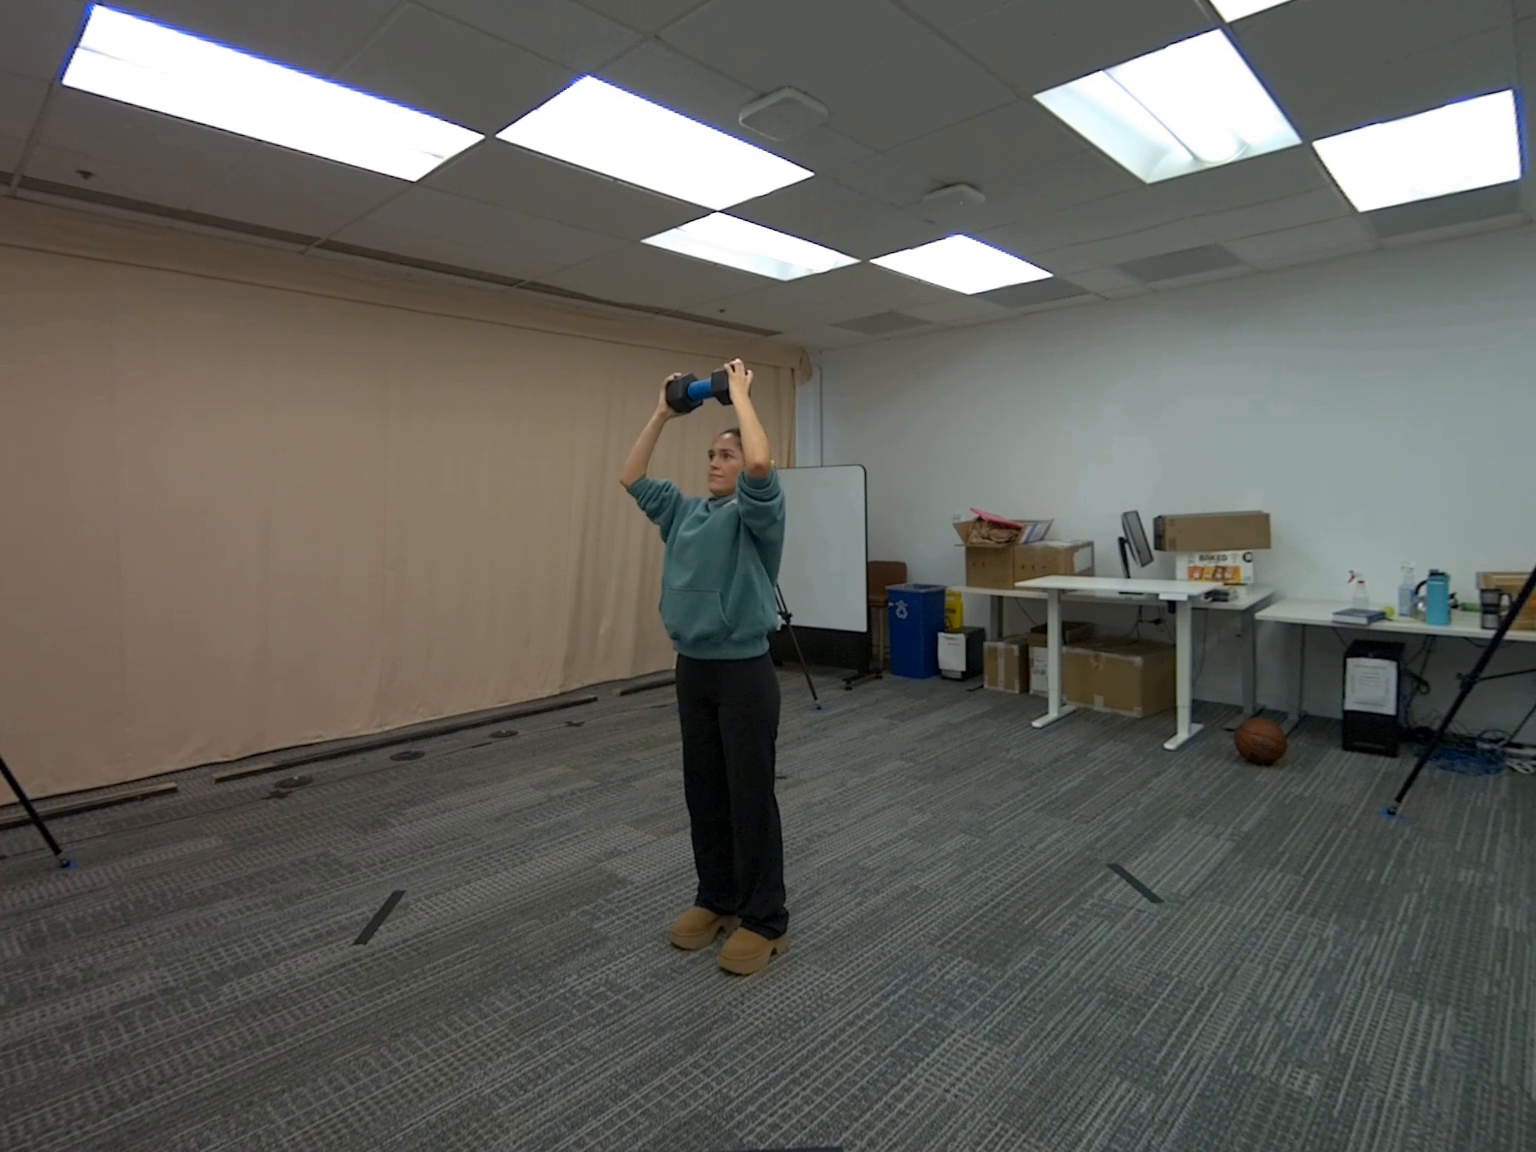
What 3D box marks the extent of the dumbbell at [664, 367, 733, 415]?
[{"bbox_3d":[-0.176,-0.575,2.581,0.105,0.123,0.303,4,-2,-44],"label":"dumbbell"}]
